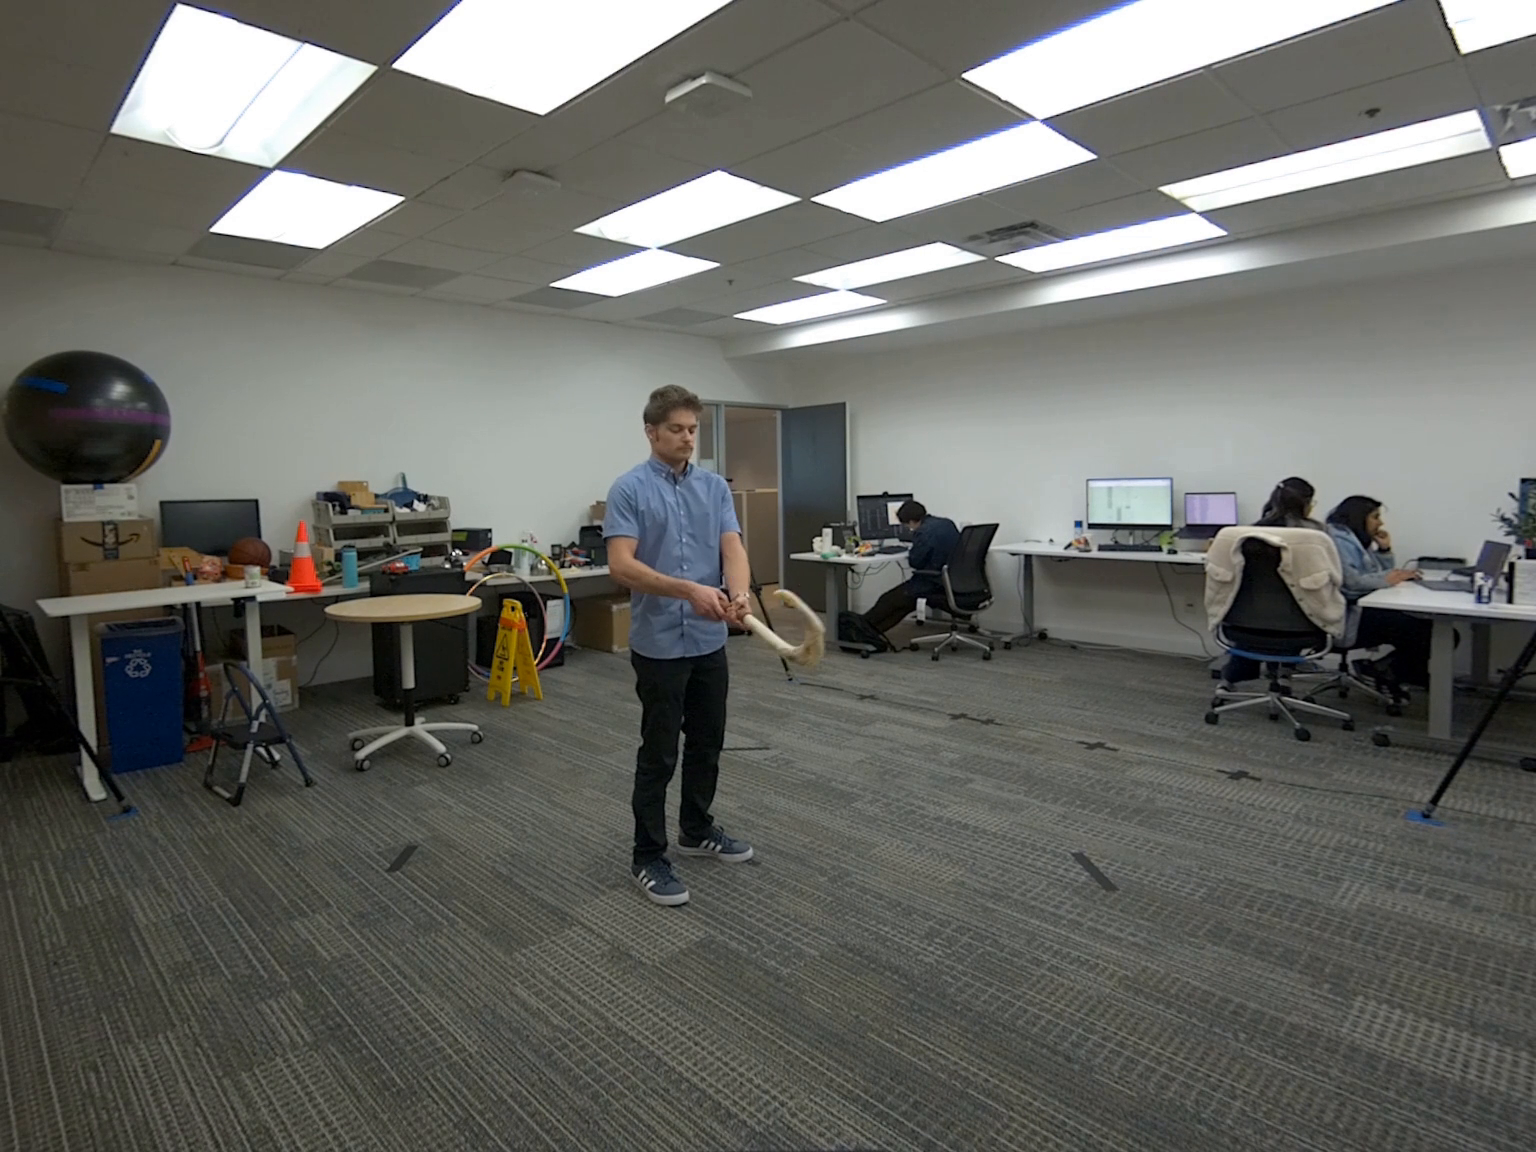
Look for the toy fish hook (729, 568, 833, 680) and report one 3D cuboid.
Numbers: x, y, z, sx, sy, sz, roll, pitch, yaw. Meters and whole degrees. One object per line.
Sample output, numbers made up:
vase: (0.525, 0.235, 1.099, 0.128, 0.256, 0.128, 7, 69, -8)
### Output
toy fish hook: (-0.018, 0.110, 2.600, 0.047, 0.221, 0.526, -14, 26, -40)
